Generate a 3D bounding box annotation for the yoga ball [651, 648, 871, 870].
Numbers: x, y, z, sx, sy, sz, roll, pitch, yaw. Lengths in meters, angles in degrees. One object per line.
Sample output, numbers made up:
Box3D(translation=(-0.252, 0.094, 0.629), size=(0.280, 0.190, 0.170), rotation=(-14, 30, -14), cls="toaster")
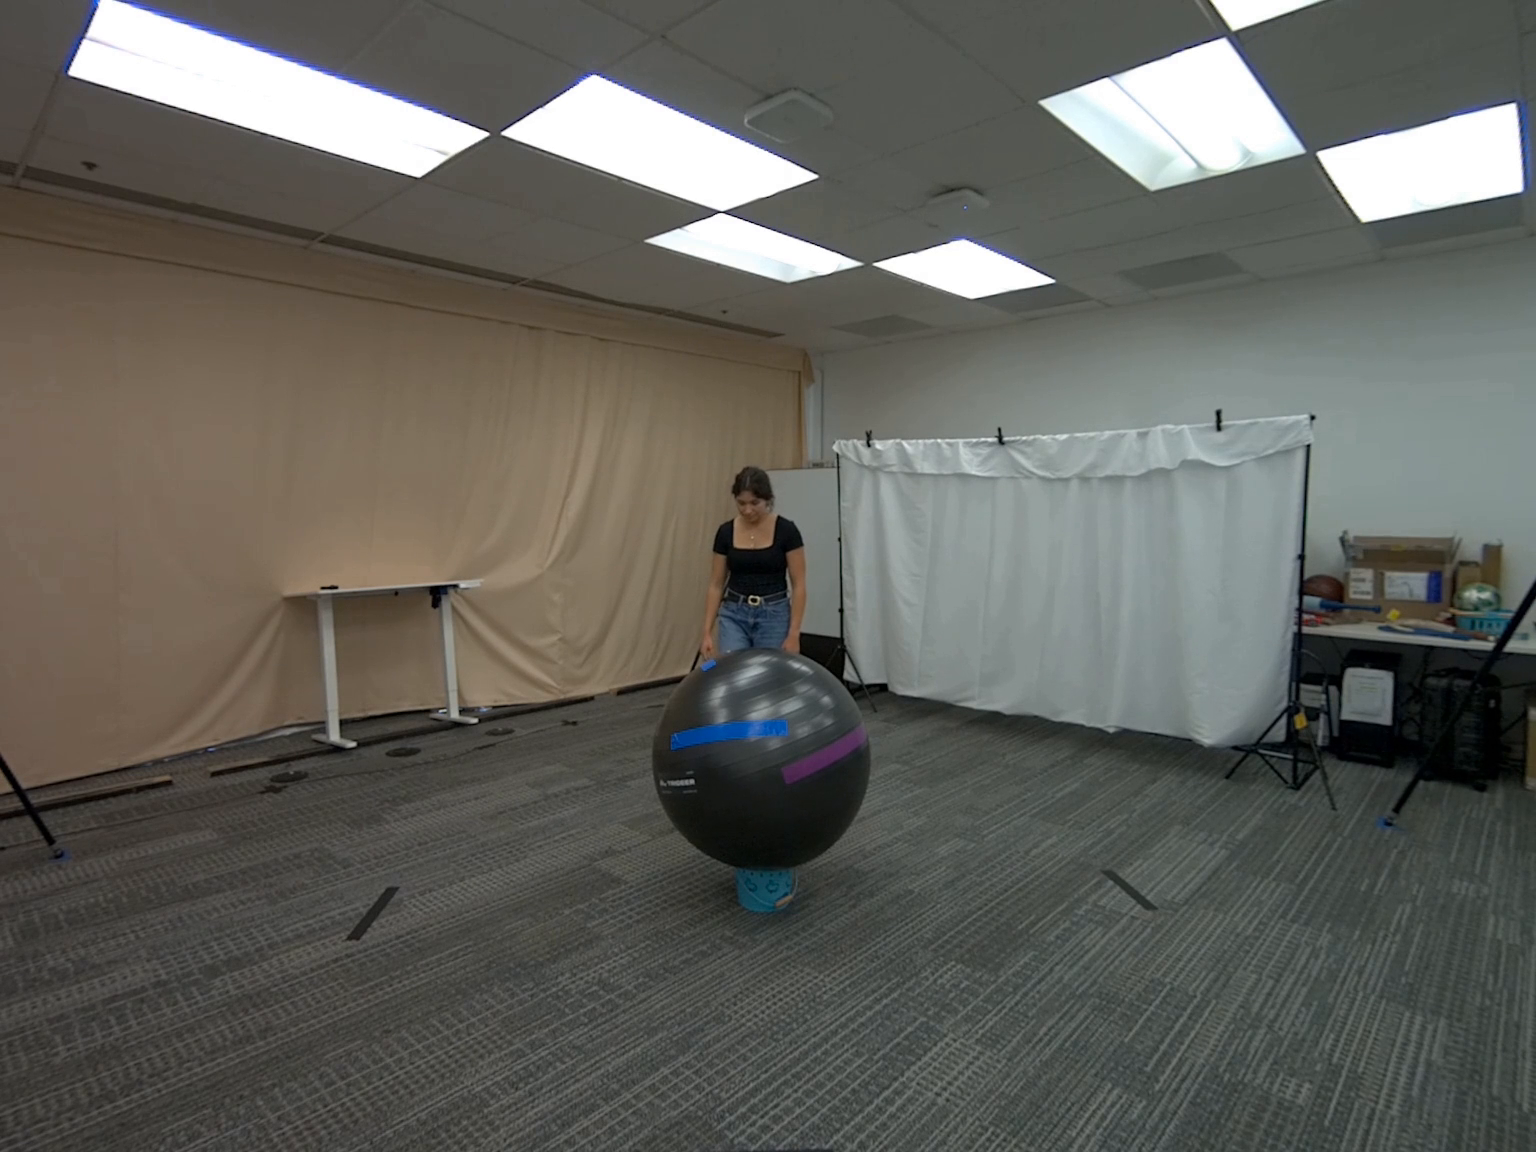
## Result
Box3D(translation=(-0.023, 0.628, 2.958), size=(0.757, 0.756, 0.760), rotation=(0, 4, -2), cls="yoga ball")
